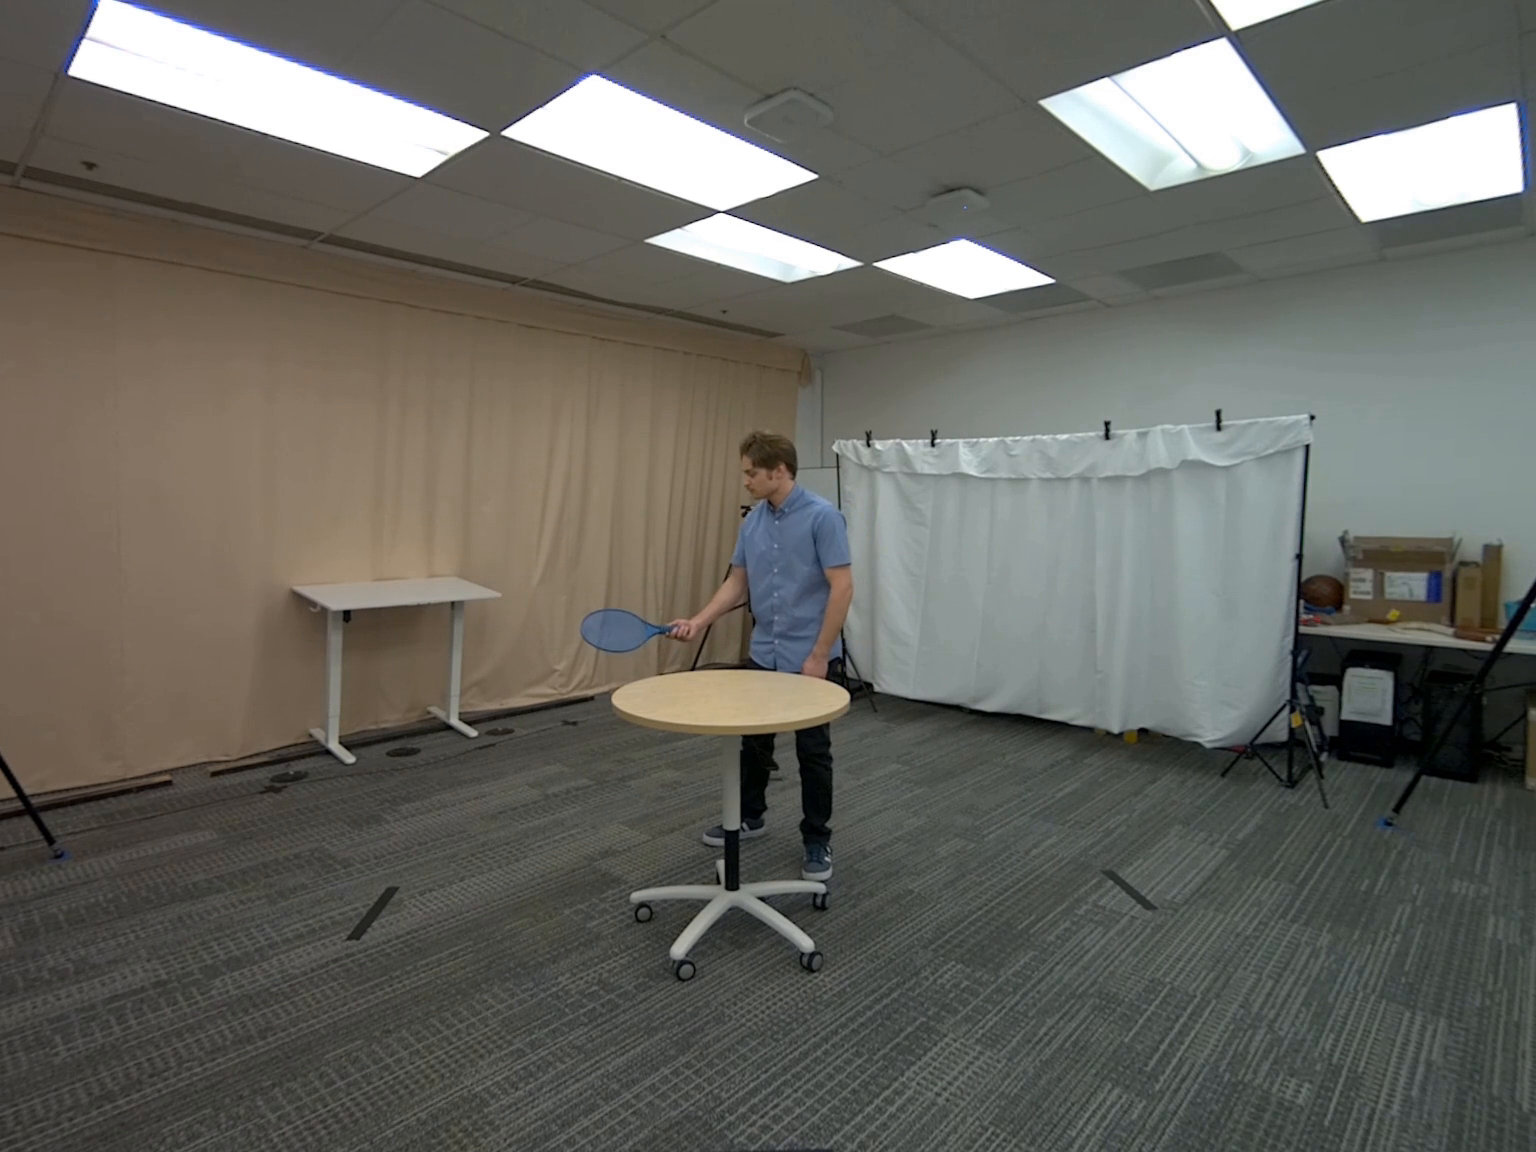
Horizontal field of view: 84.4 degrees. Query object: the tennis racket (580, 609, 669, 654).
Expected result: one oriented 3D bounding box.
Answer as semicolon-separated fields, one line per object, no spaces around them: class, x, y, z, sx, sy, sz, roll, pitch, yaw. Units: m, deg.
tennis racket;-0.502;0.232;3.275;0.425;0.219;0.031;3;-42;-17
